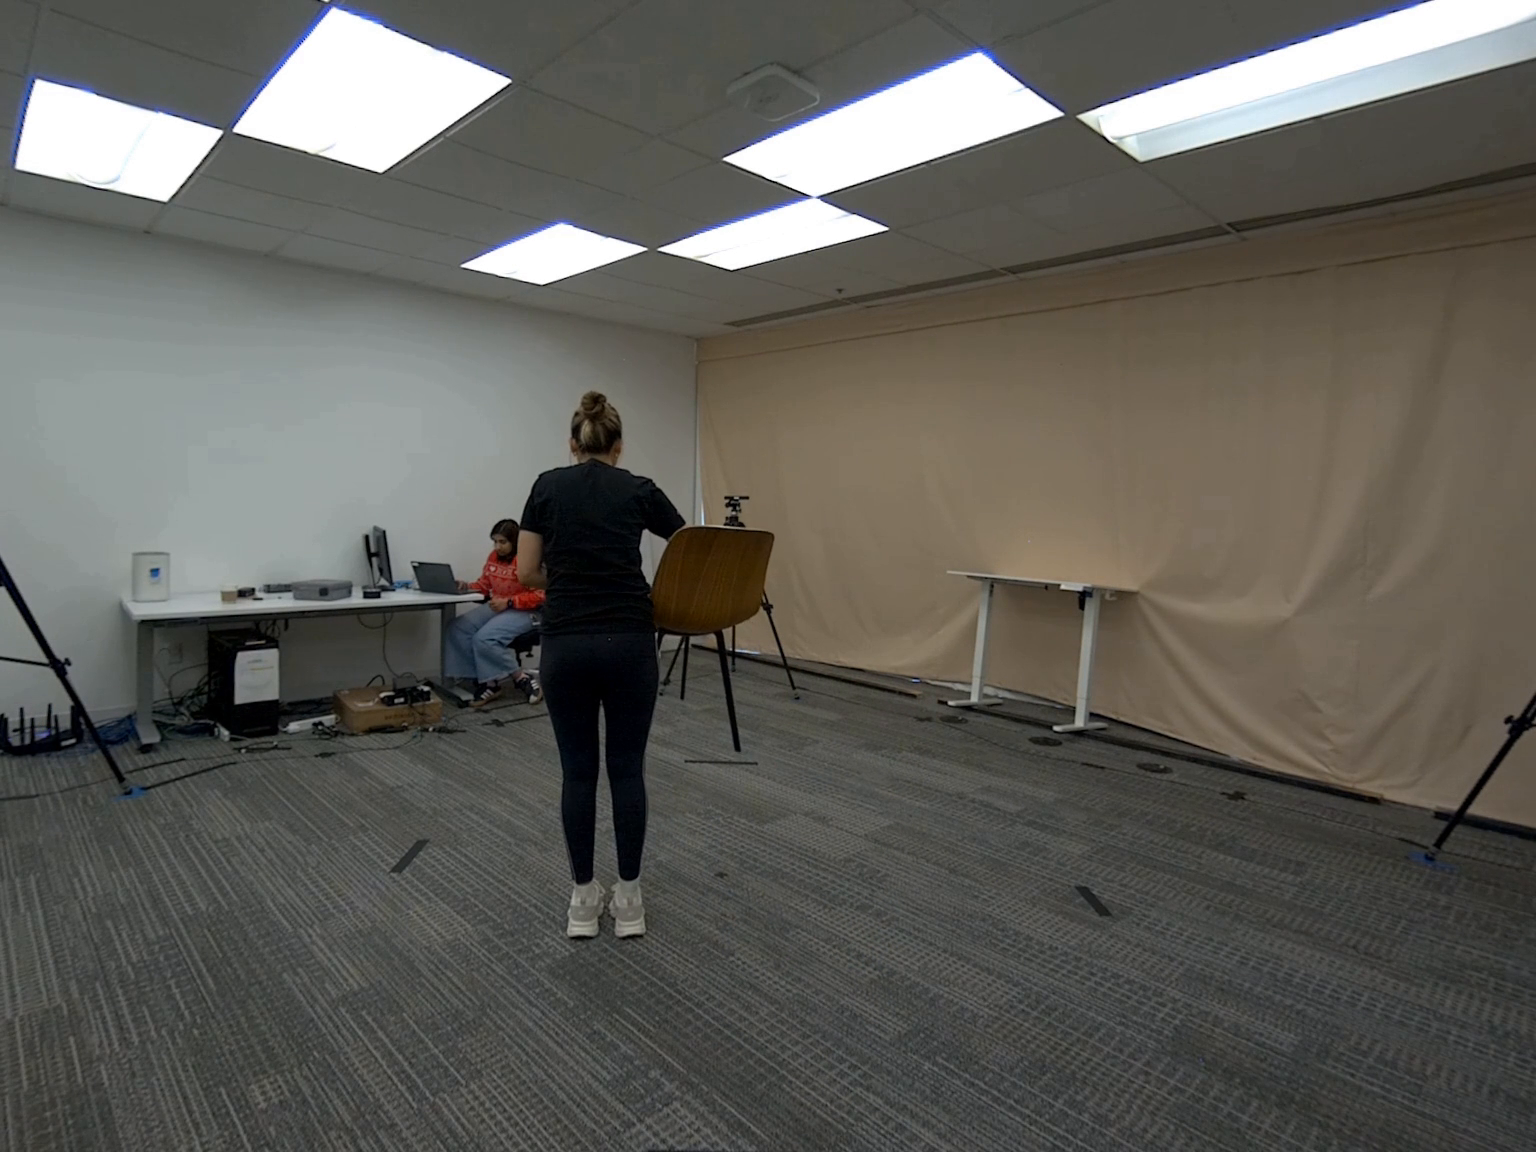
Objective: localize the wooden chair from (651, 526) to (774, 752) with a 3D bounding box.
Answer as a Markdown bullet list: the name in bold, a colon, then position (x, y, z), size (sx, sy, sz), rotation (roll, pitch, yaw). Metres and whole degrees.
- **wooden chair**: position (-0.338, 0.164, 3.017), size (0.467, 0.870, 0.539), rotation (2, 20, -34)
